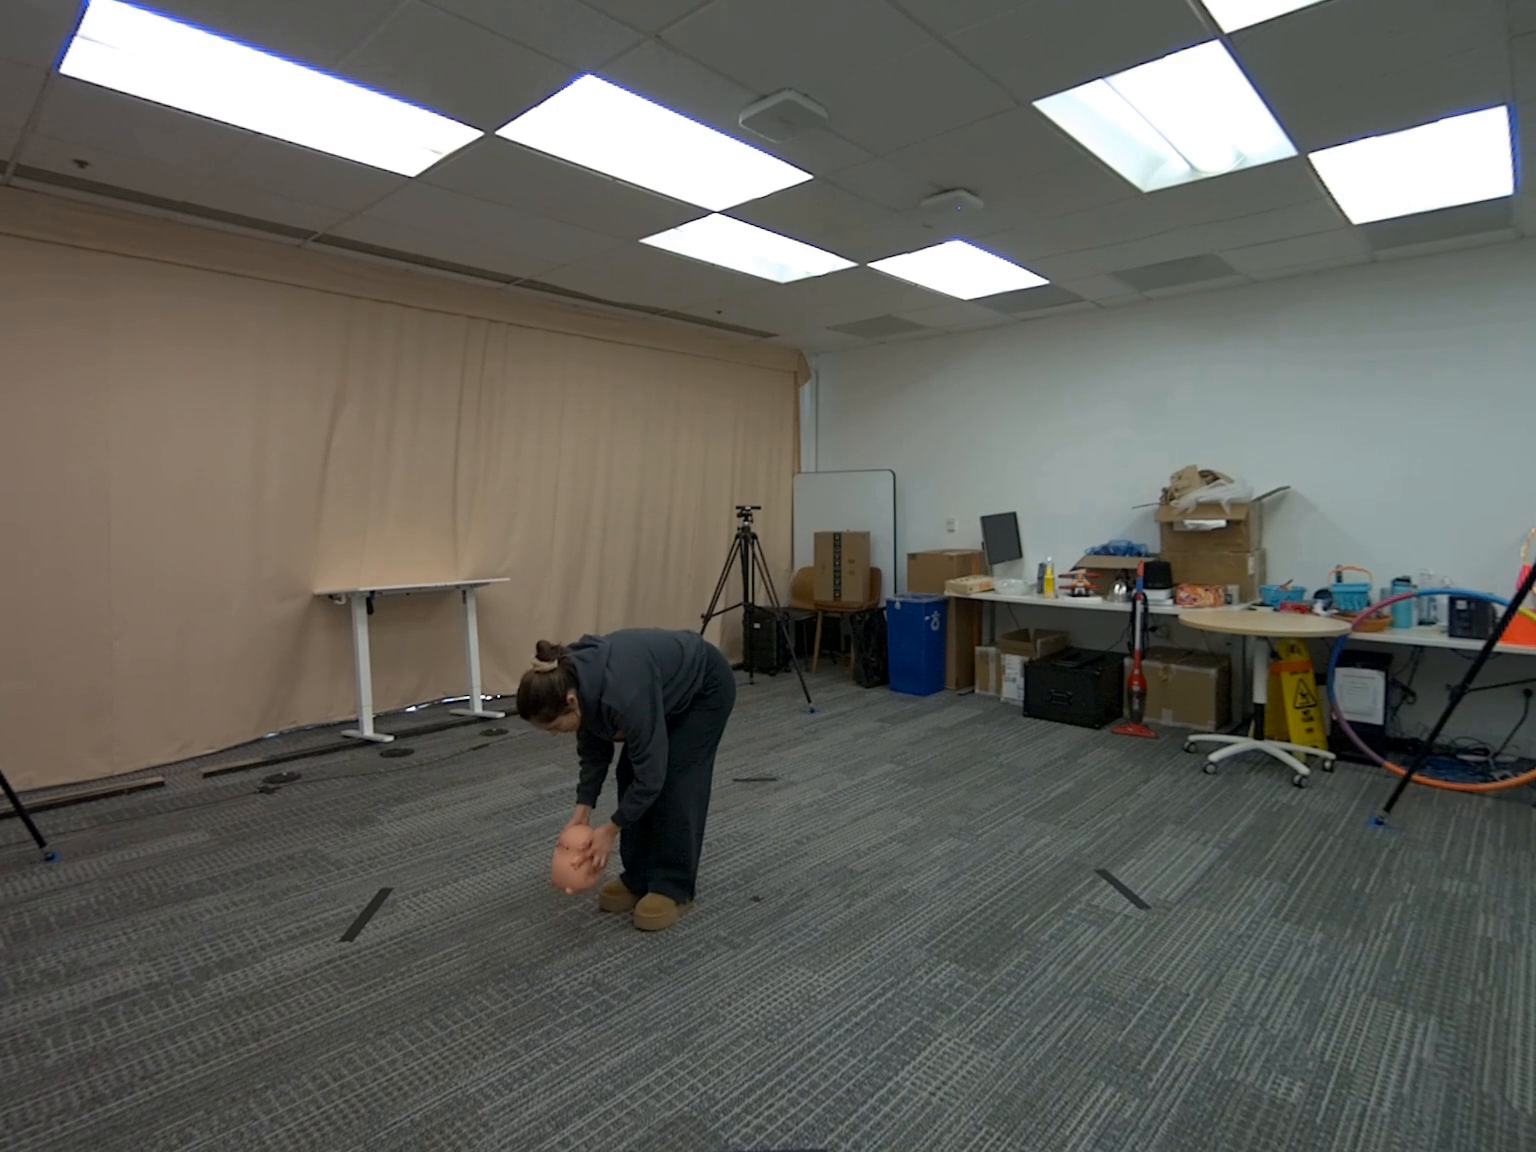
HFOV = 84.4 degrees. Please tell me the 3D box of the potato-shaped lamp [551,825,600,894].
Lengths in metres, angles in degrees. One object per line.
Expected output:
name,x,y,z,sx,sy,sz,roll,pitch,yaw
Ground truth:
potato-shaped lamp,-0.599,0.911,2.748,0.166,0.198,0.170,4,-4,-42
